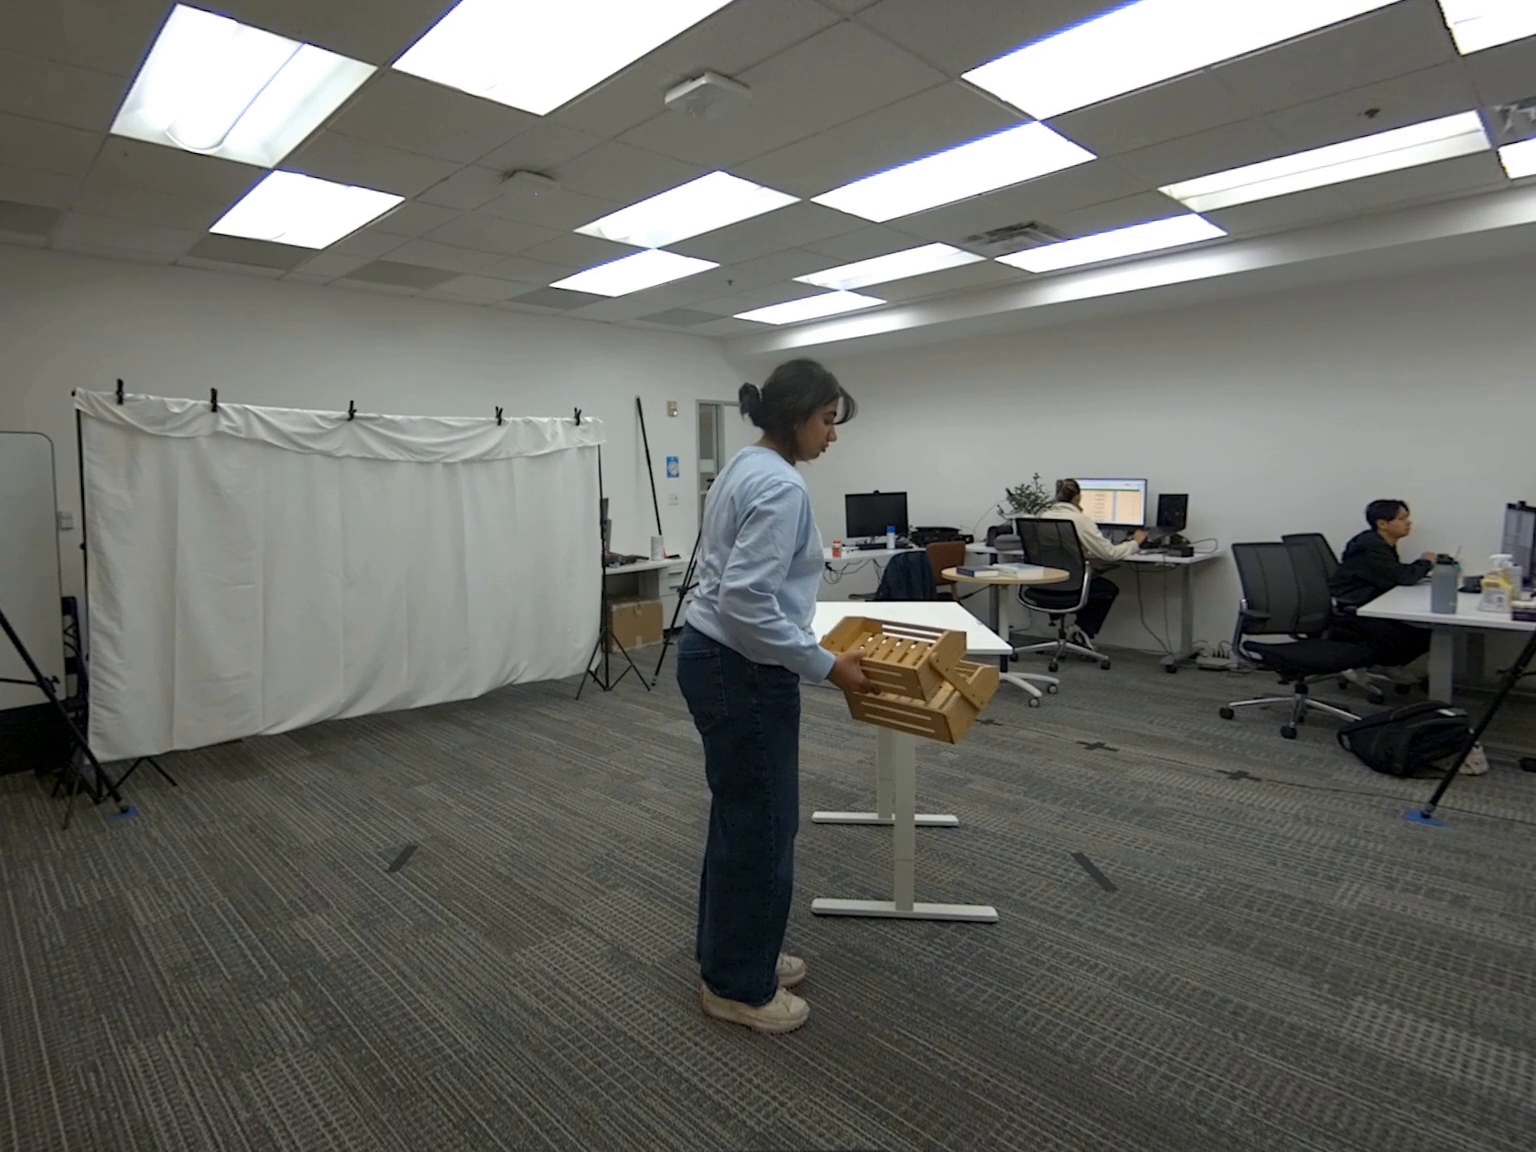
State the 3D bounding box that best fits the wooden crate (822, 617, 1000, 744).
[{"bbox_3d":[0.352,0.223,2.121,0.334,0.266,0.300,5,35,45],"label":"wooden crate"}]
